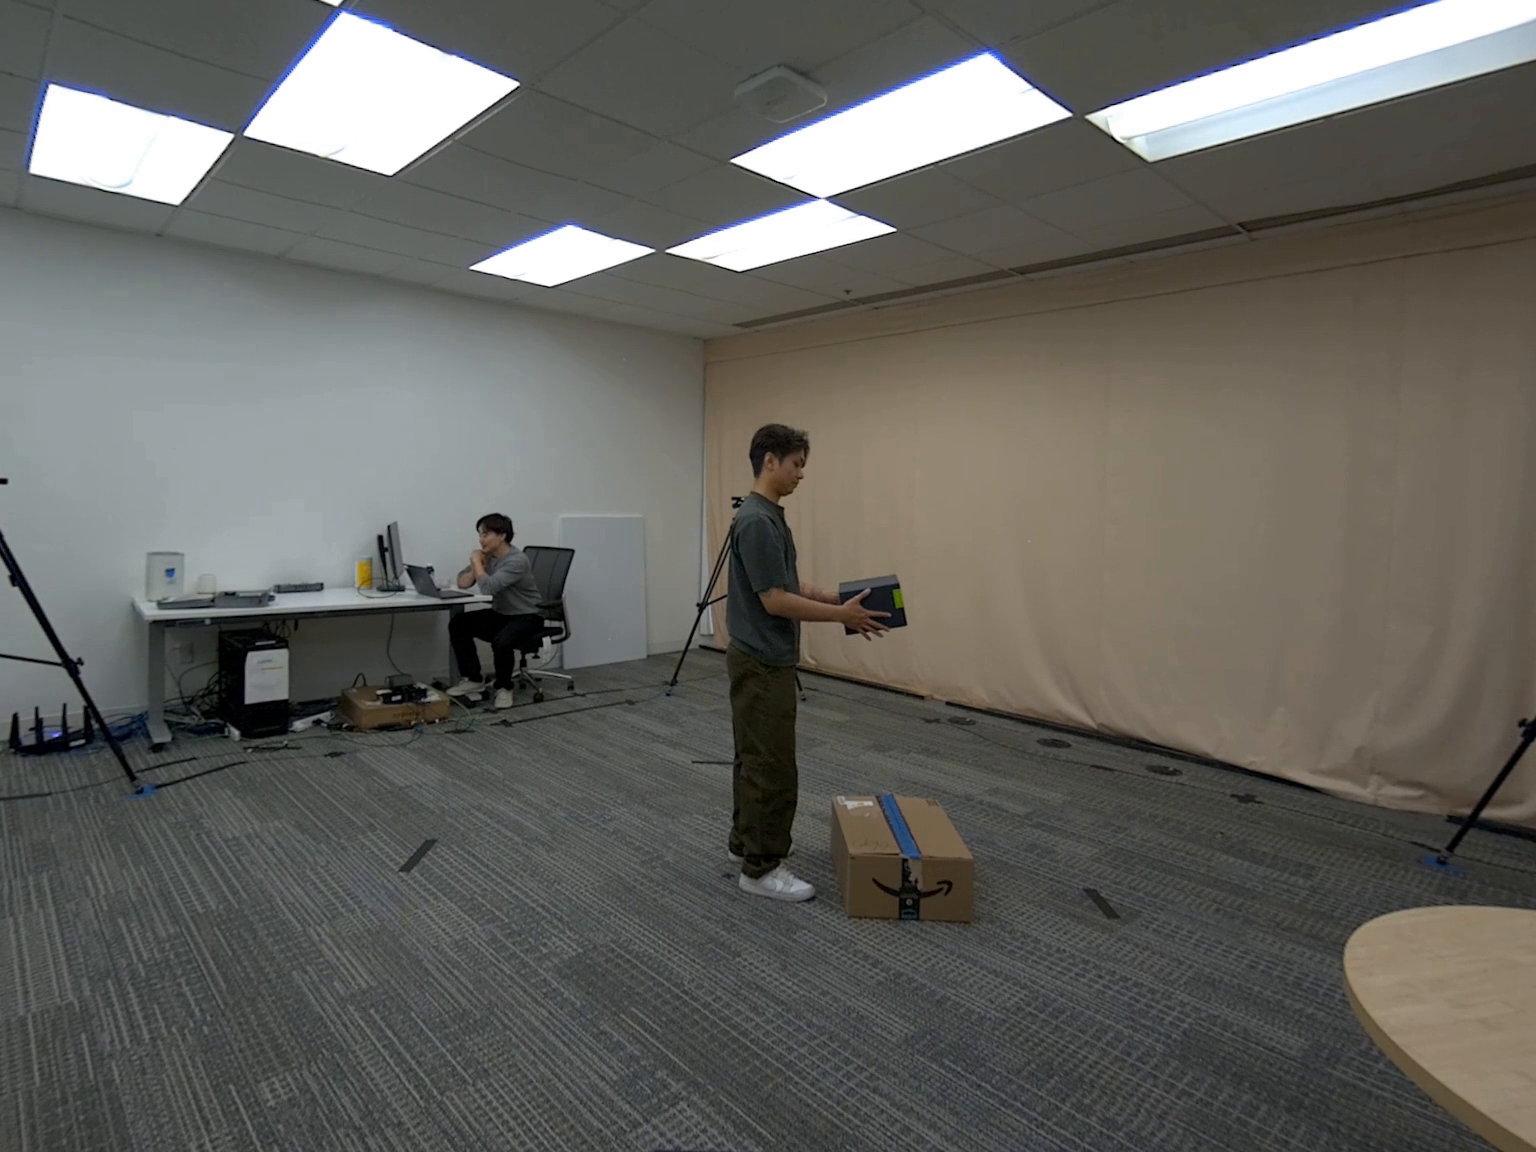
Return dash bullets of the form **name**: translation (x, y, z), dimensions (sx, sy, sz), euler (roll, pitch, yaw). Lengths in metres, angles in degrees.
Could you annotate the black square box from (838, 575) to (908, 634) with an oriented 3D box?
- **black square box**: translation (0.368, 0.097, 3.022), dimensions (0.218, 0.155, 0.228), euler (-6, 5, 5)
